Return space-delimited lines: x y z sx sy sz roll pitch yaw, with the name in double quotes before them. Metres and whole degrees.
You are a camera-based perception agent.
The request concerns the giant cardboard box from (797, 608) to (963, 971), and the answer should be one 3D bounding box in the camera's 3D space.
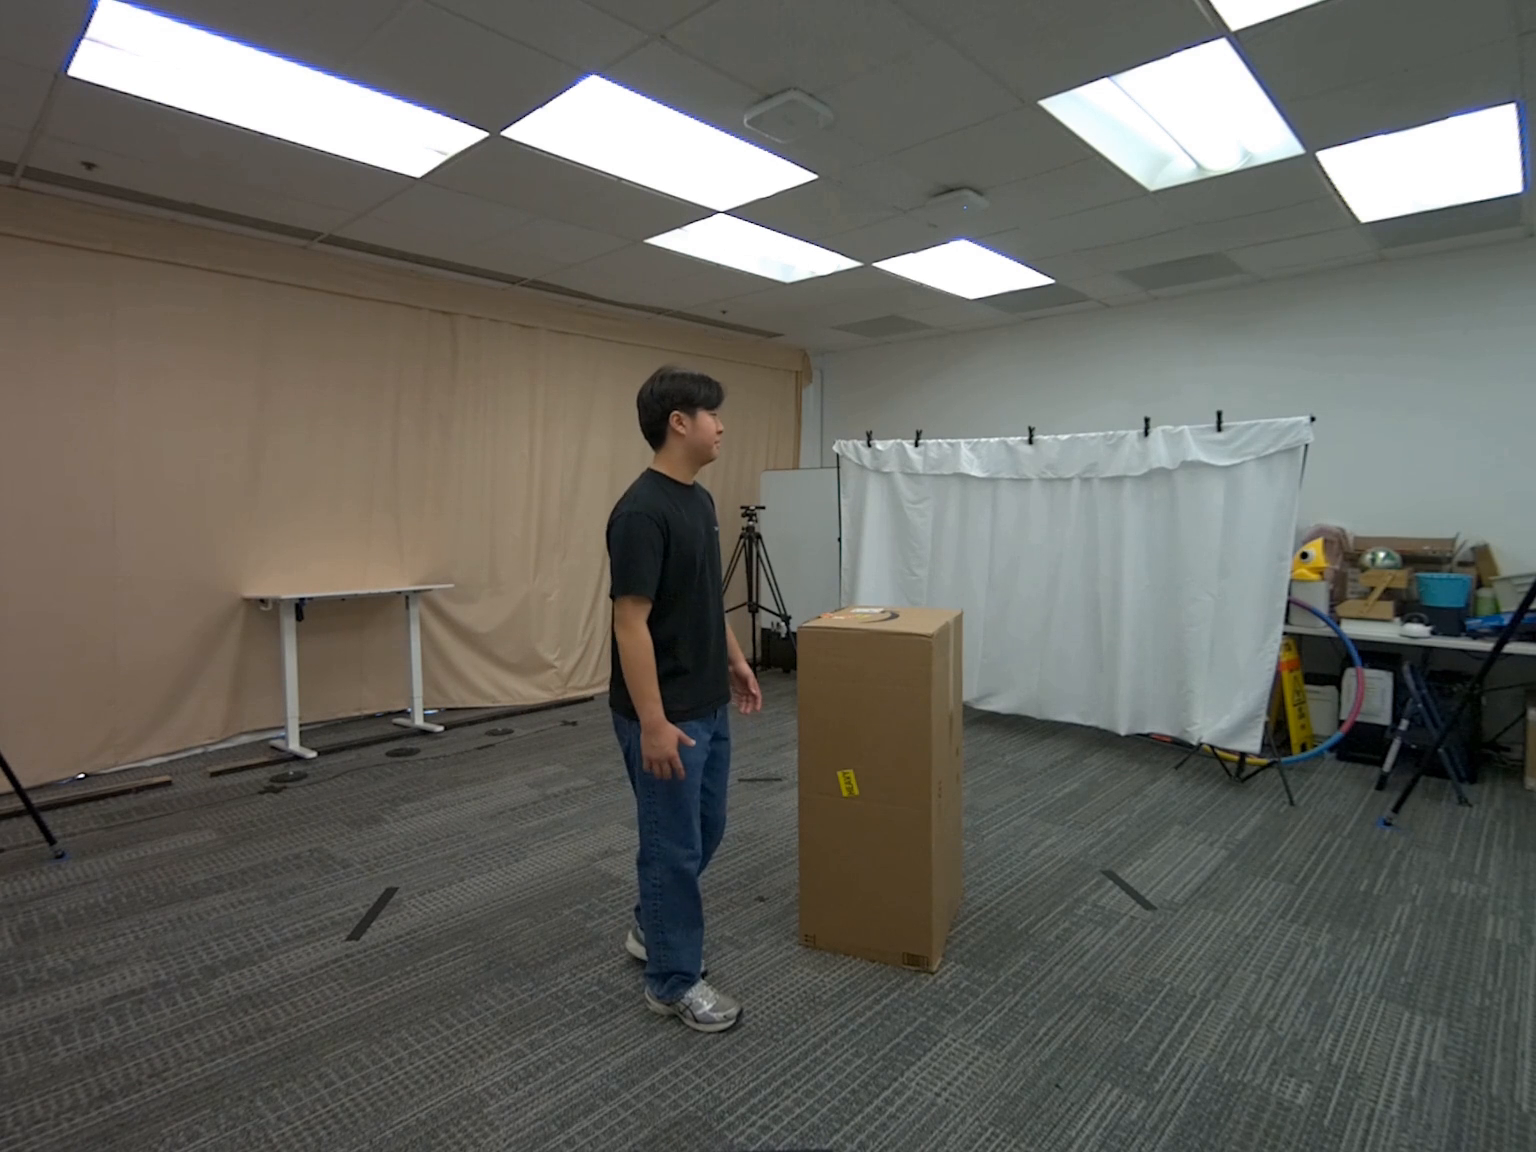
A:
"giant cardboard box" 0.394 0.644 2.817 0.458 1.025 0.570 0 3 25
